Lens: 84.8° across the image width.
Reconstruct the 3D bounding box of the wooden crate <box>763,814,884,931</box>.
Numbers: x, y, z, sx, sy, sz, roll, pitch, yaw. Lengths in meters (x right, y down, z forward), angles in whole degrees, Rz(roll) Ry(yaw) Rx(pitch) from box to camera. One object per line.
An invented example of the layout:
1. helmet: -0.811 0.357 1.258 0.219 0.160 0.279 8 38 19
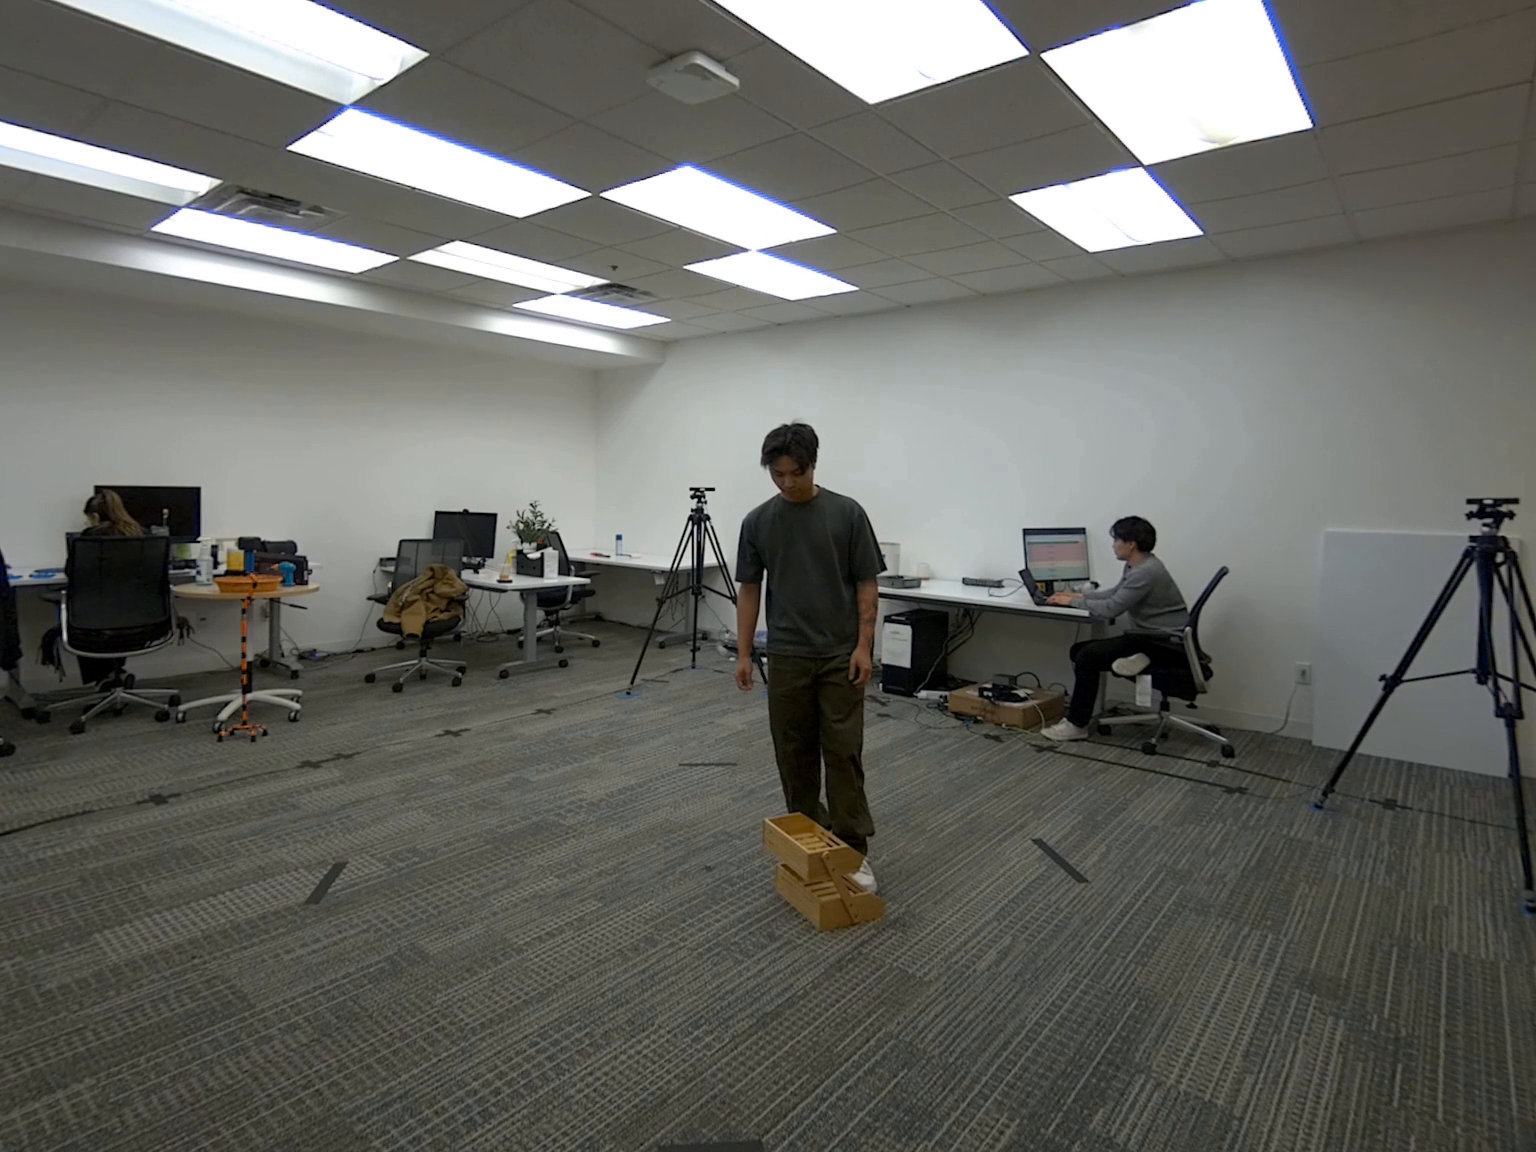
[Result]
1. wooden crate: 0.182 0.967 2.848 0.294 0.272 0.334 0 4 -27
